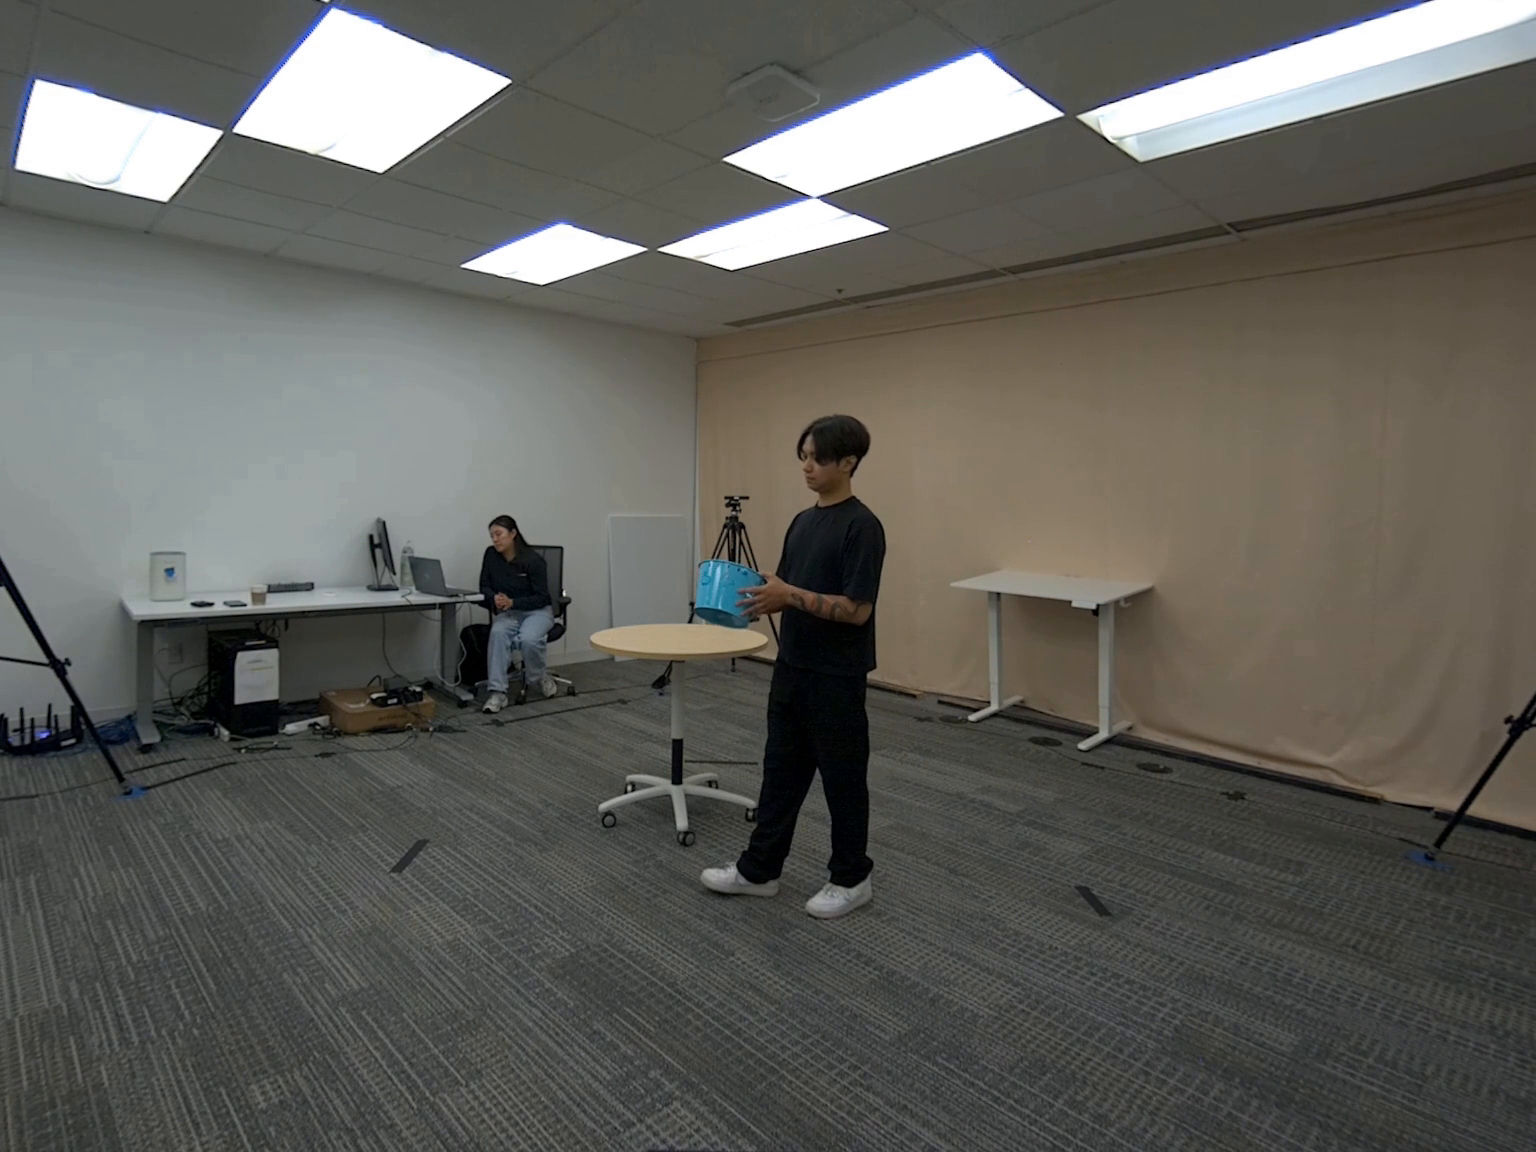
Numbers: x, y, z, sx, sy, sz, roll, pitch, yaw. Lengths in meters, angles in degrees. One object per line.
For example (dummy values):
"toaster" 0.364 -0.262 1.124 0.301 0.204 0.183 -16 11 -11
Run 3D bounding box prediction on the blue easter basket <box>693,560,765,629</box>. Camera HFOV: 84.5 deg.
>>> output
"blue easter basket" -0.129 0.067 2.717 0.245 0.157 0.240 16 -19 4
